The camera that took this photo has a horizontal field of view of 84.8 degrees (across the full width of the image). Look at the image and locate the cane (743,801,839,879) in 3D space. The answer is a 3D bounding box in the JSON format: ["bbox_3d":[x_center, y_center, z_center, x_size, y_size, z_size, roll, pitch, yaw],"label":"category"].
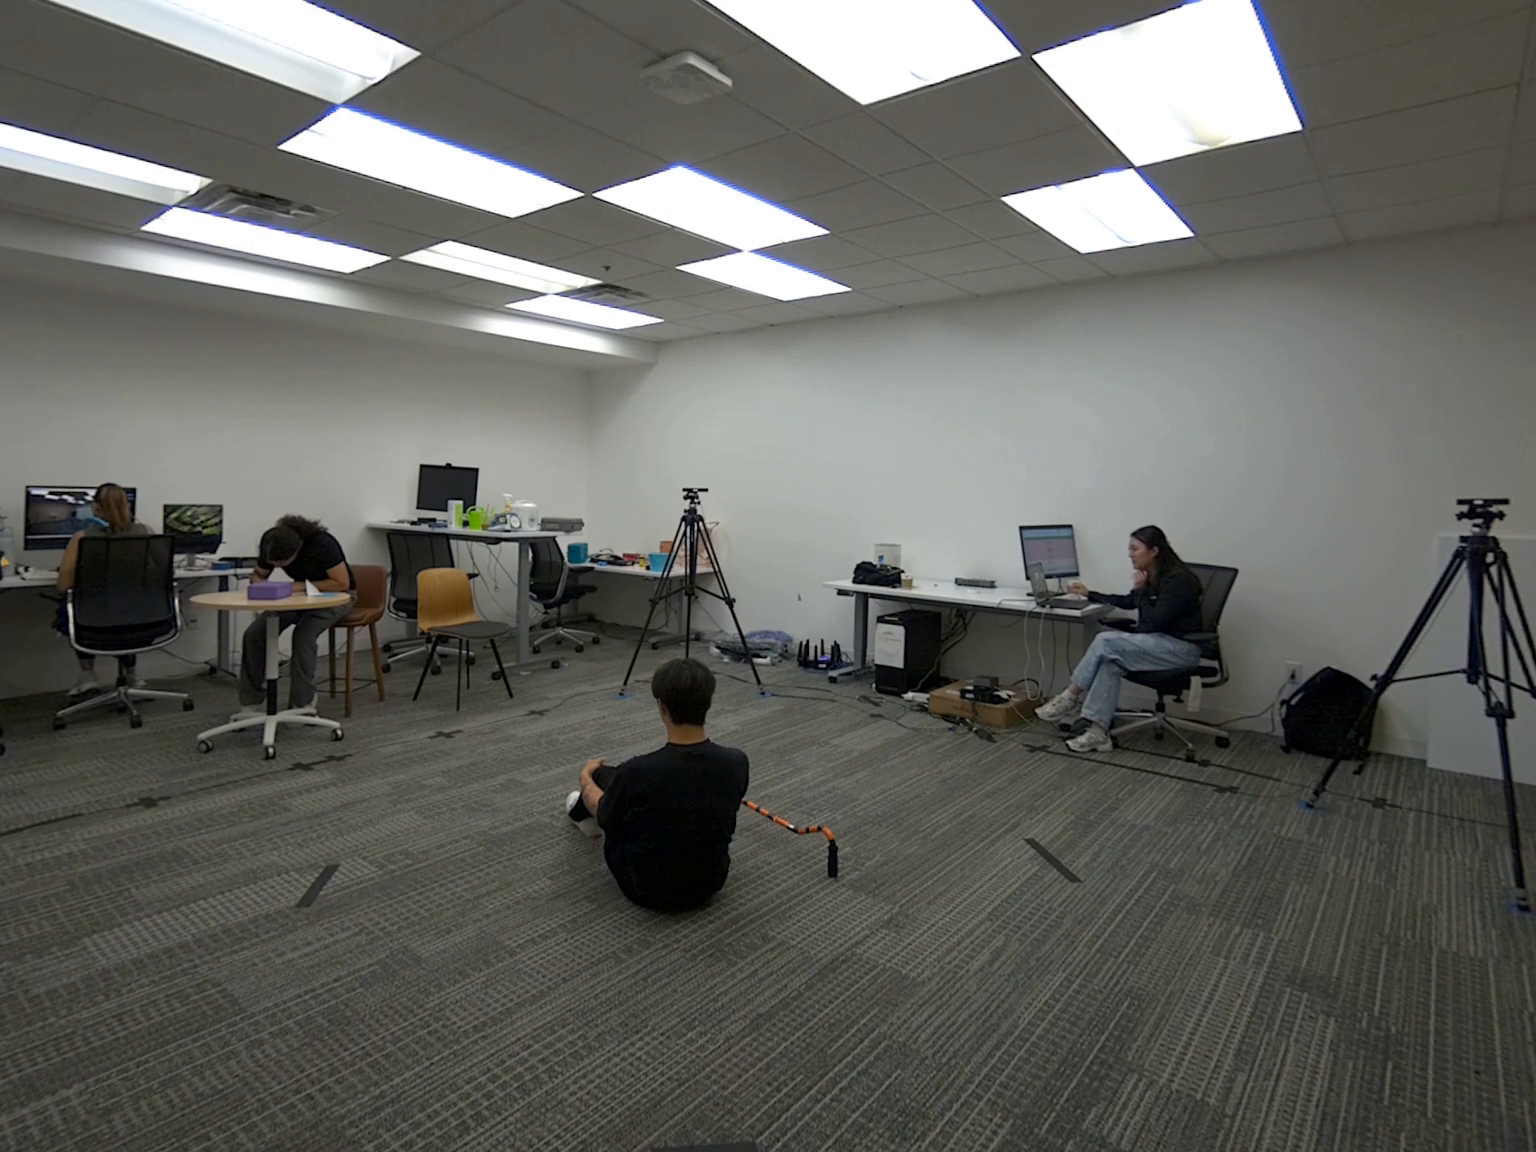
[{"bbox_3d":[-0.025,0.932,3.439,0.147,0.206,0.938,0,5,-34],"label":"cane"}]
